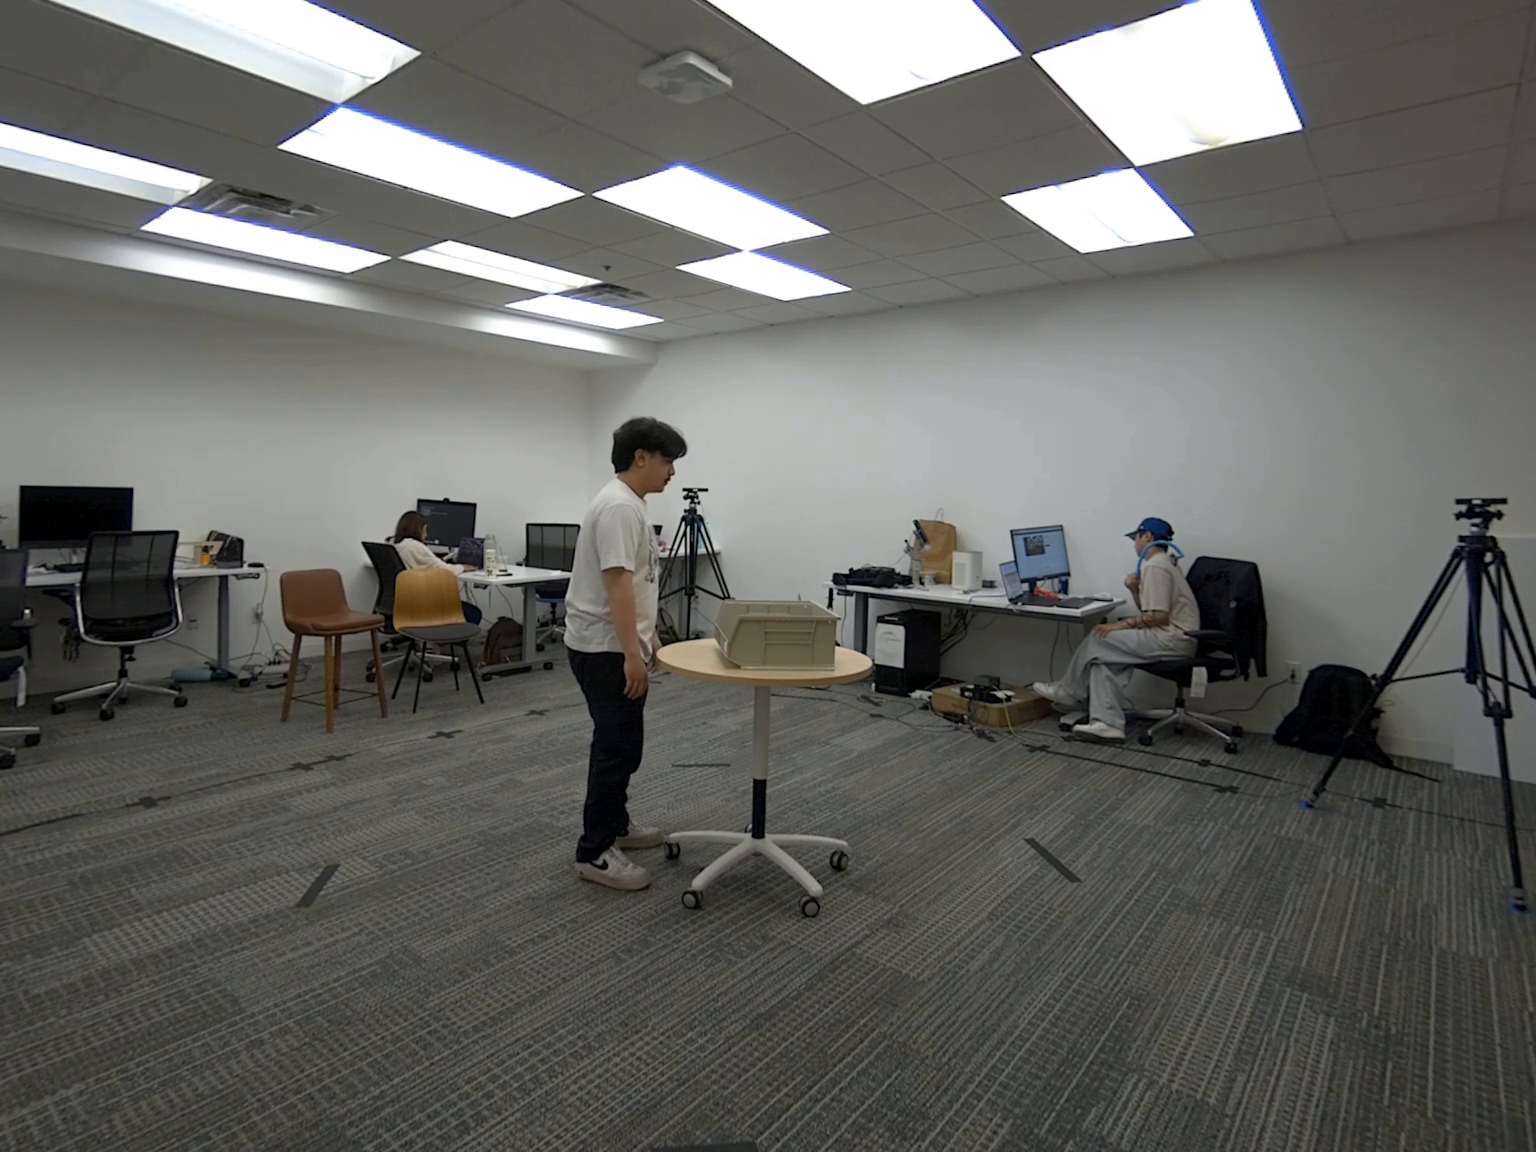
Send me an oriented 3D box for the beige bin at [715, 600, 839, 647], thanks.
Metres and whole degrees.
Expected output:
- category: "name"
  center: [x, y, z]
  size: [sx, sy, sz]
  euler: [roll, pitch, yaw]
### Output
- category: "beige bin"
  center: [-0.010, 0.208, 2.992]
  size: [0.375, 0.188, 0.427]
  euler: [0, 4, -8]
